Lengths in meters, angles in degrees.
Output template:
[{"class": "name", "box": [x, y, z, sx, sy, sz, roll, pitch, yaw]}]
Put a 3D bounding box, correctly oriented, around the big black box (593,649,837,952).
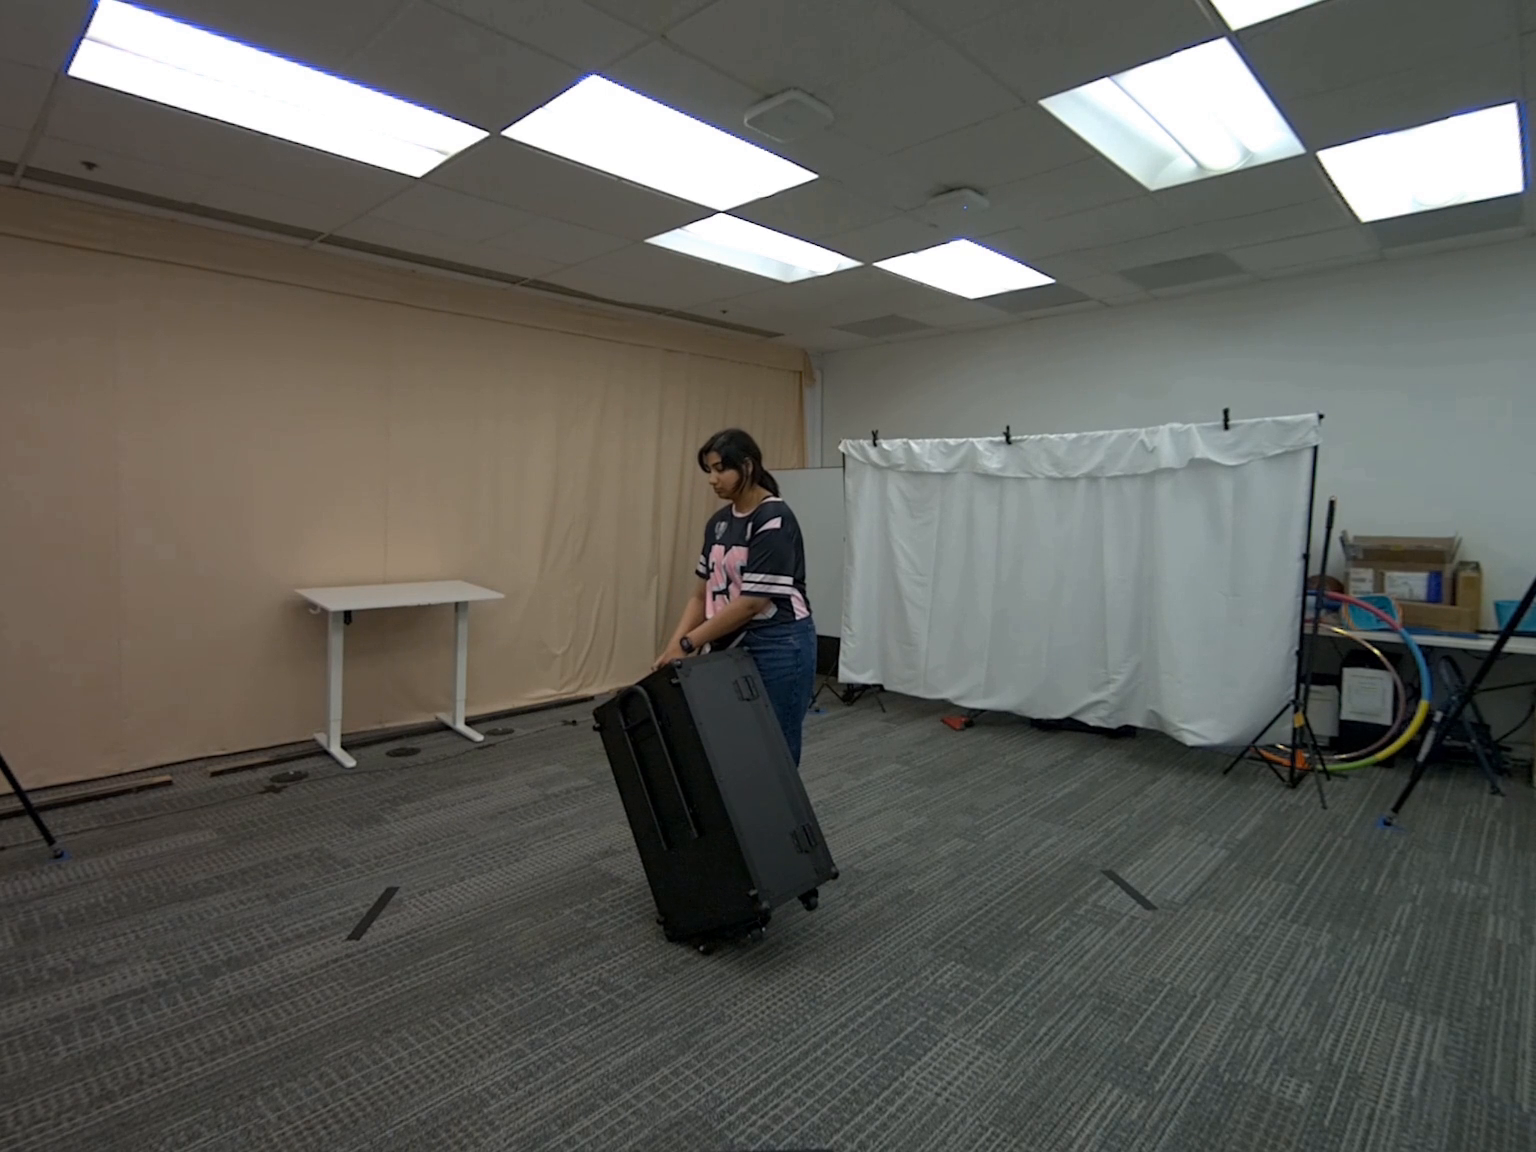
[{"class": "big black box", "box": [-0.173, 0.735, 2.755, 0.373, 0.882, 0.531, -3, -25, -48]}]
